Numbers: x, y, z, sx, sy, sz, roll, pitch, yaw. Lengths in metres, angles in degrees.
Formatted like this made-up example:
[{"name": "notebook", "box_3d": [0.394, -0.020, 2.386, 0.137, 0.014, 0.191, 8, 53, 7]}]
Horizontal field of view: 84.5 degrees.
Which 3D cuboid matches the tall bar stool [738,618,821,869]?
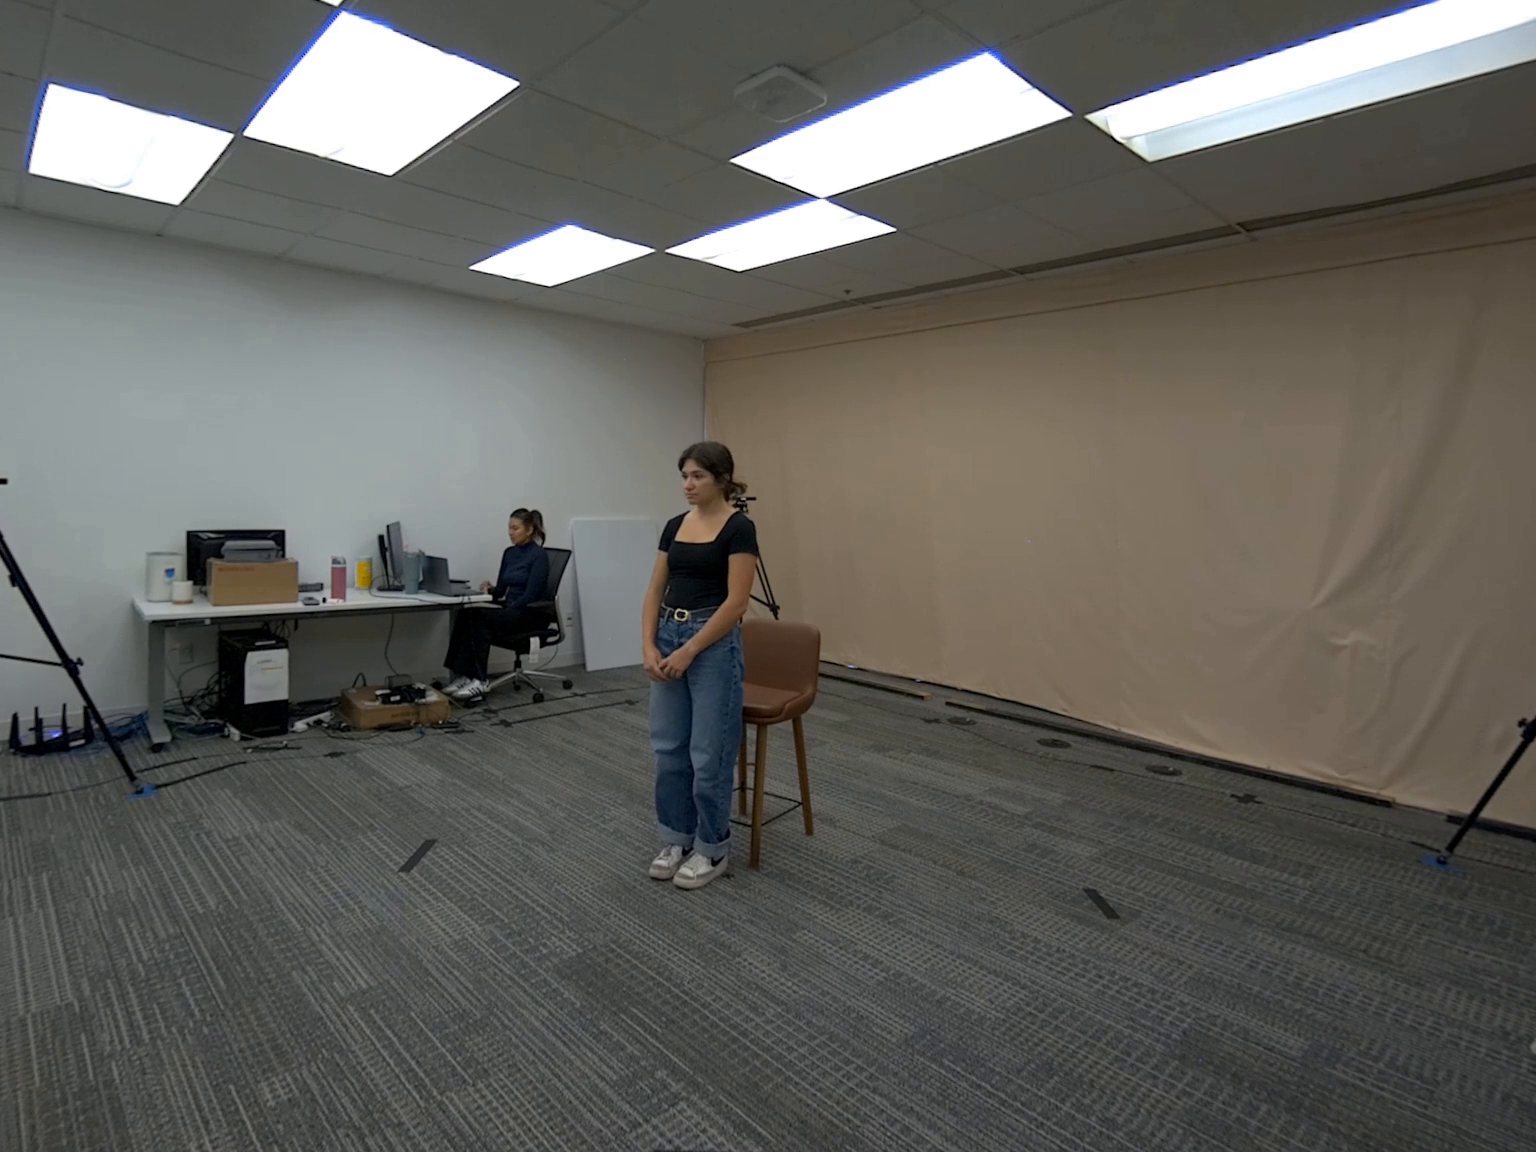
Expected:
[{"name": "tall bar stool", "box_3d": [-0.073, 0.647, 3.435, 0.467, 0.889, 0.457, 4, 2, 36]}]
